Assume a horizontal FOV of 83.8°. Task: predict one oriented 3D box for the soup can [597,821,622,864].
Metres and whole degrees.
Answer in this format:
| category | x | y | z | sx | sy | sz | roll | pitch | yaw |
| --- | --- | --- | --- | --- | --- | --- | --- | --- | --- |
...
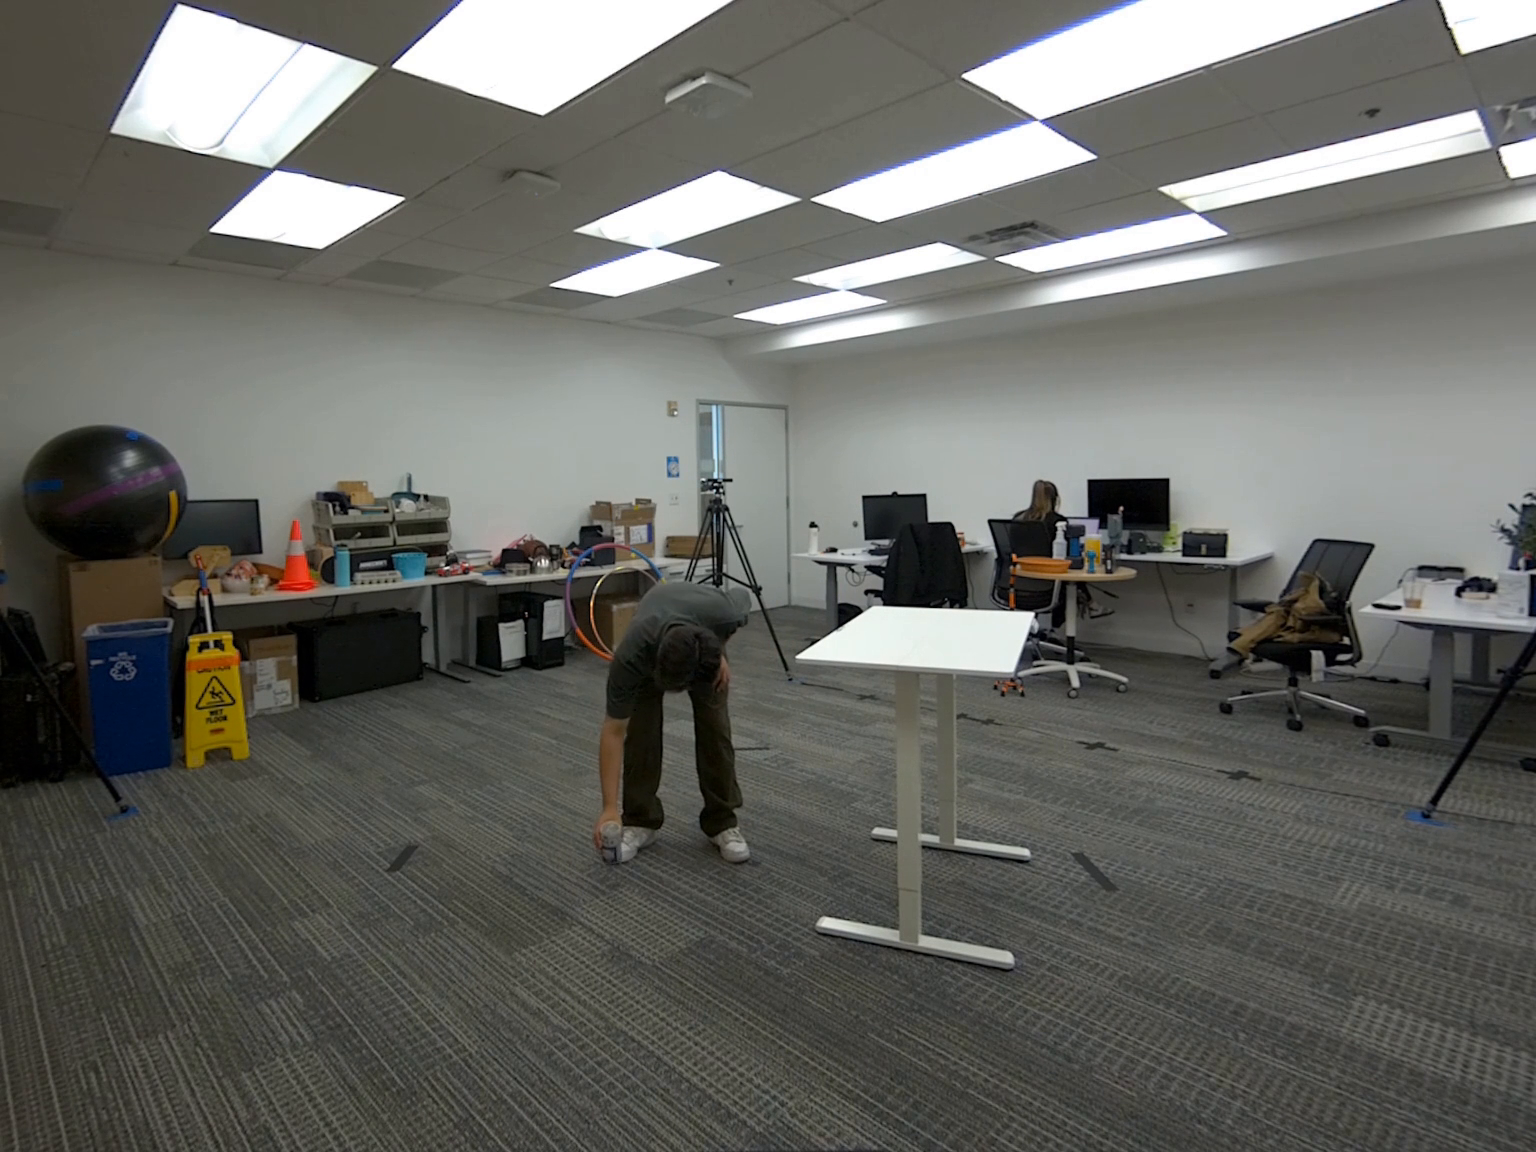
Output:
| category | x | y | z | sx | sy | sz | roll | pitch | yaw |
| --- | --- | --- | --- | --- | --- | --- | --- | --- | --- |
| soup can | -0.528 | 0.868 | 2.786 | 0.067 | 0.119 | 0.068 | -1 | 20 | -1 |
